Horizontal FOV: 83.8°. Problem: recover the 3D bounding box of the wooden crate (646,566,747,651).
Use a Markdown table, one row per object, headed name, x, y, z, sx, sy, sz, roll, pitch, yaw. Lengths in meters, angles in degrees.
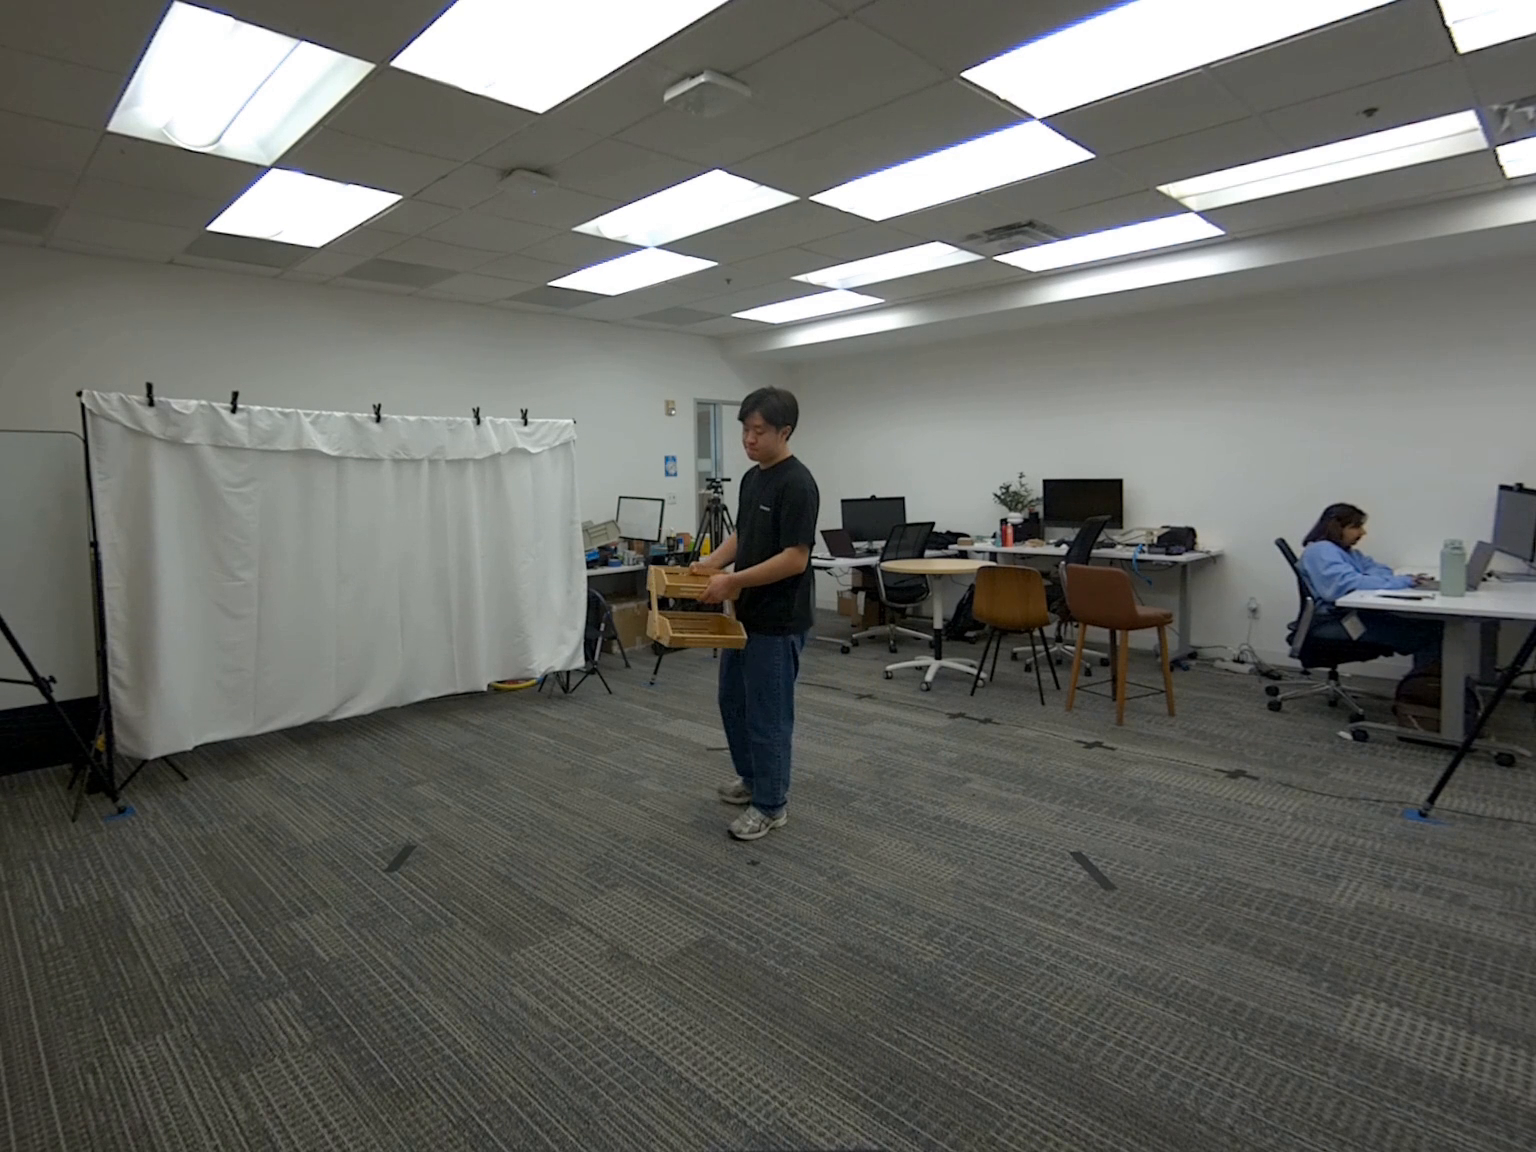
| name | x | y | z | sx | sy | sz | roll | pitch | yaw |
| --- | --- | --- | --- | --- | --- | --- | --- | --- | --- |
| wooden crate | -0.265 | 0.110 | 3.185 | 0.317 | 0.273 | 0.310 | 5 | 3 | -25 |
